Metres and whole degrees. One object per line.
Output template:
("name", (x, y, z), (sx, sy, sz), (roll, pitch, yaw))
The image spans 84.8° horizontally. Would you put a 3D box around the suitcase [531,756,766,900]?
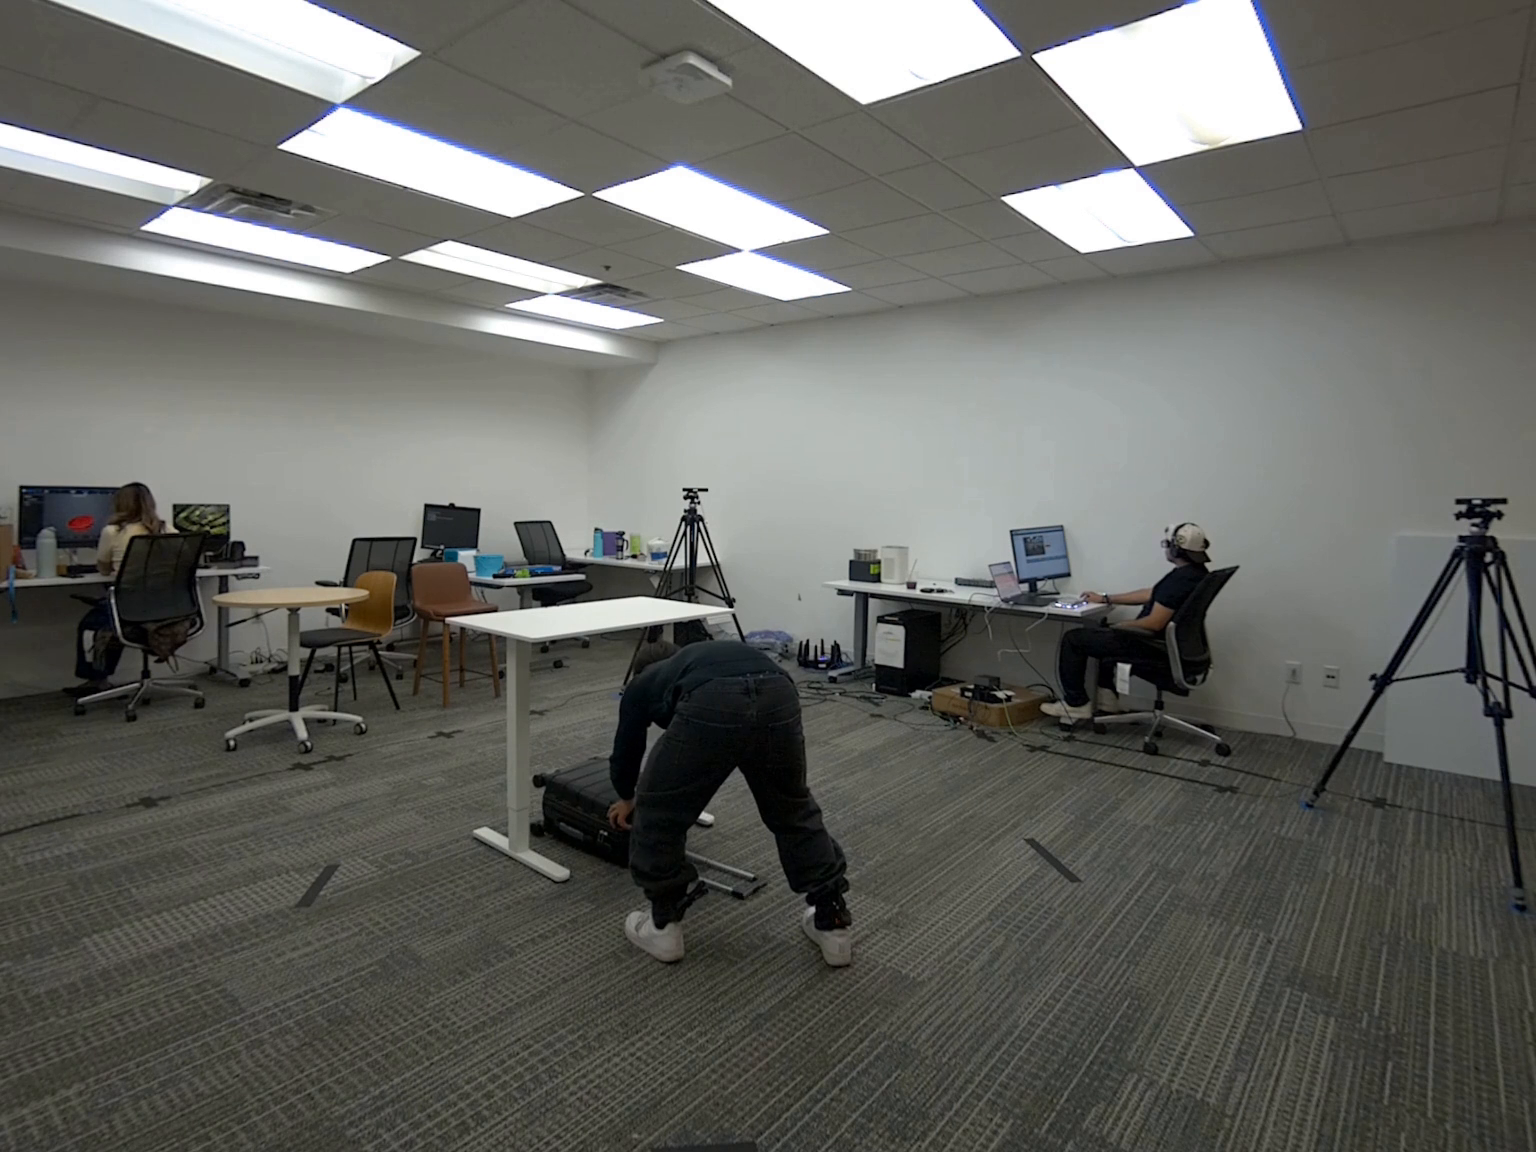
("suitcase", (-0.458, 0.927, 3.220), (1.011, 0.256, 0.373), (5, 5, 36))
